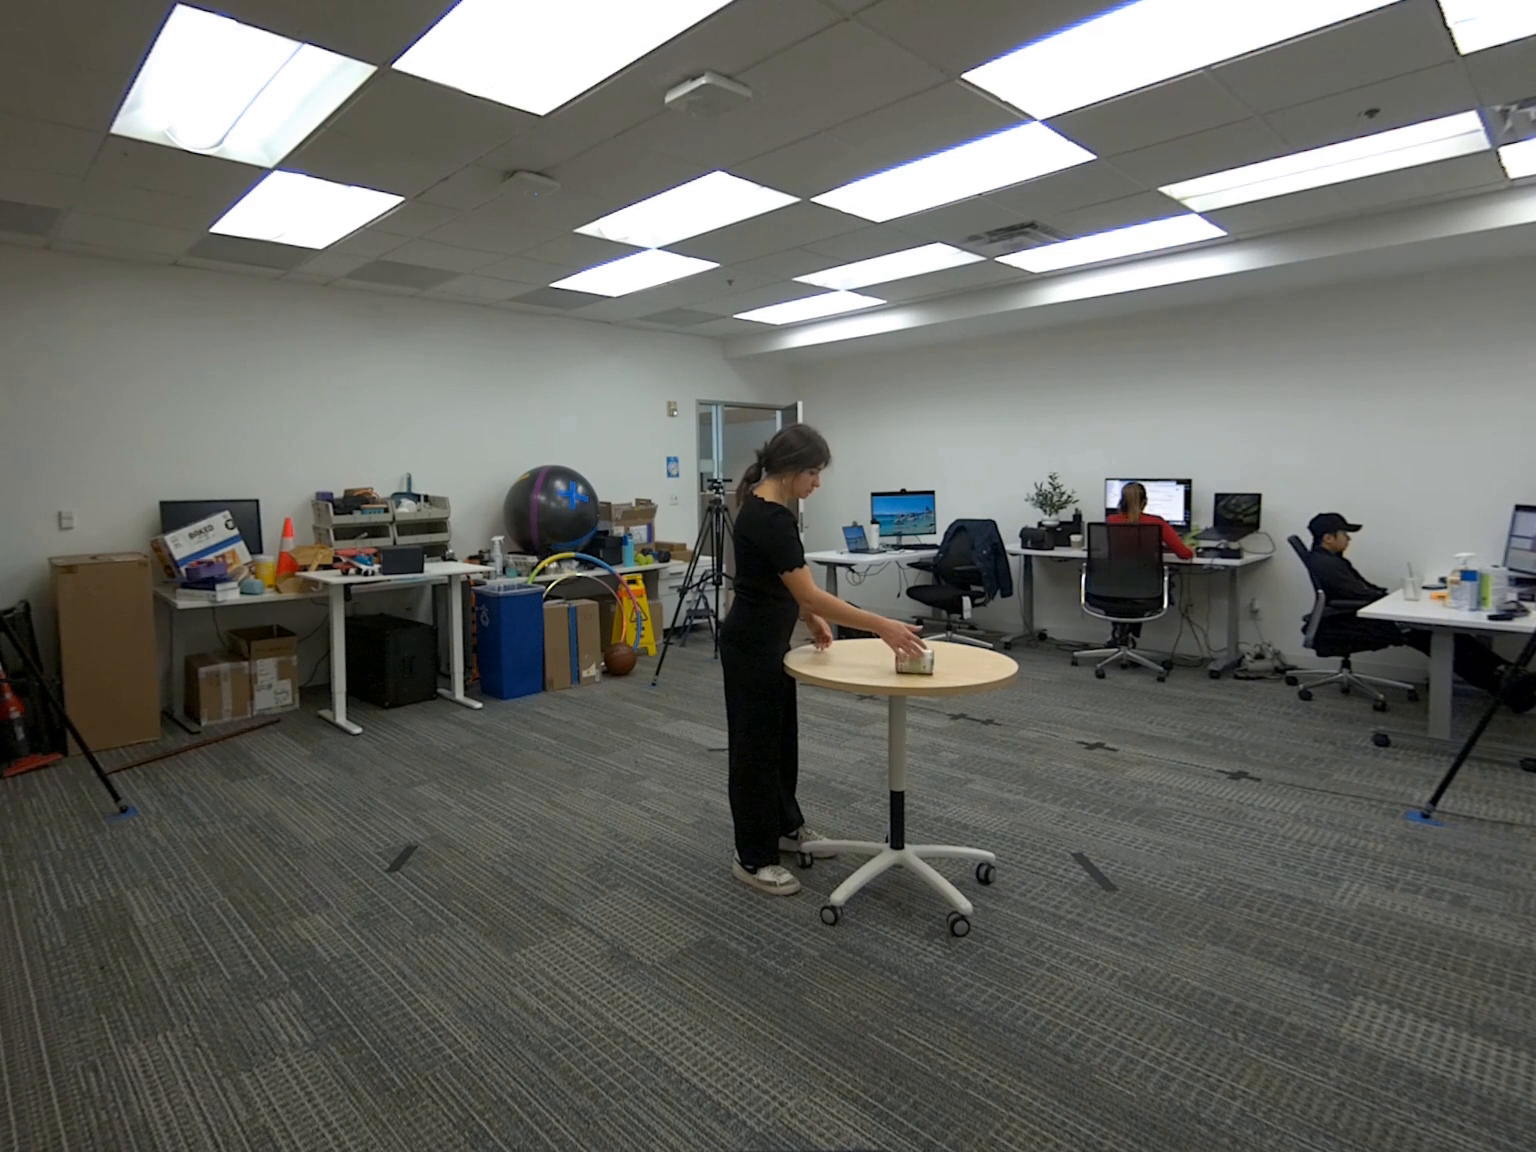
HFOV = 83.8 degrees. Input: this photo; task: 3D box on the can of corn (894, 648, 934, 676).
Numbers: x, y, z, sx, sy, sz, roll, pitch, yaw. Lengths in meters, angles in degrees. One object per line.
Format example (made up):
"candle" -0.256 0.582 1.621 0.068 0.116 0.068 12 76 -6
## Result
"can of corn" 0.471 0.264 2.648 0.113 0.074 0.073 1 5 18
